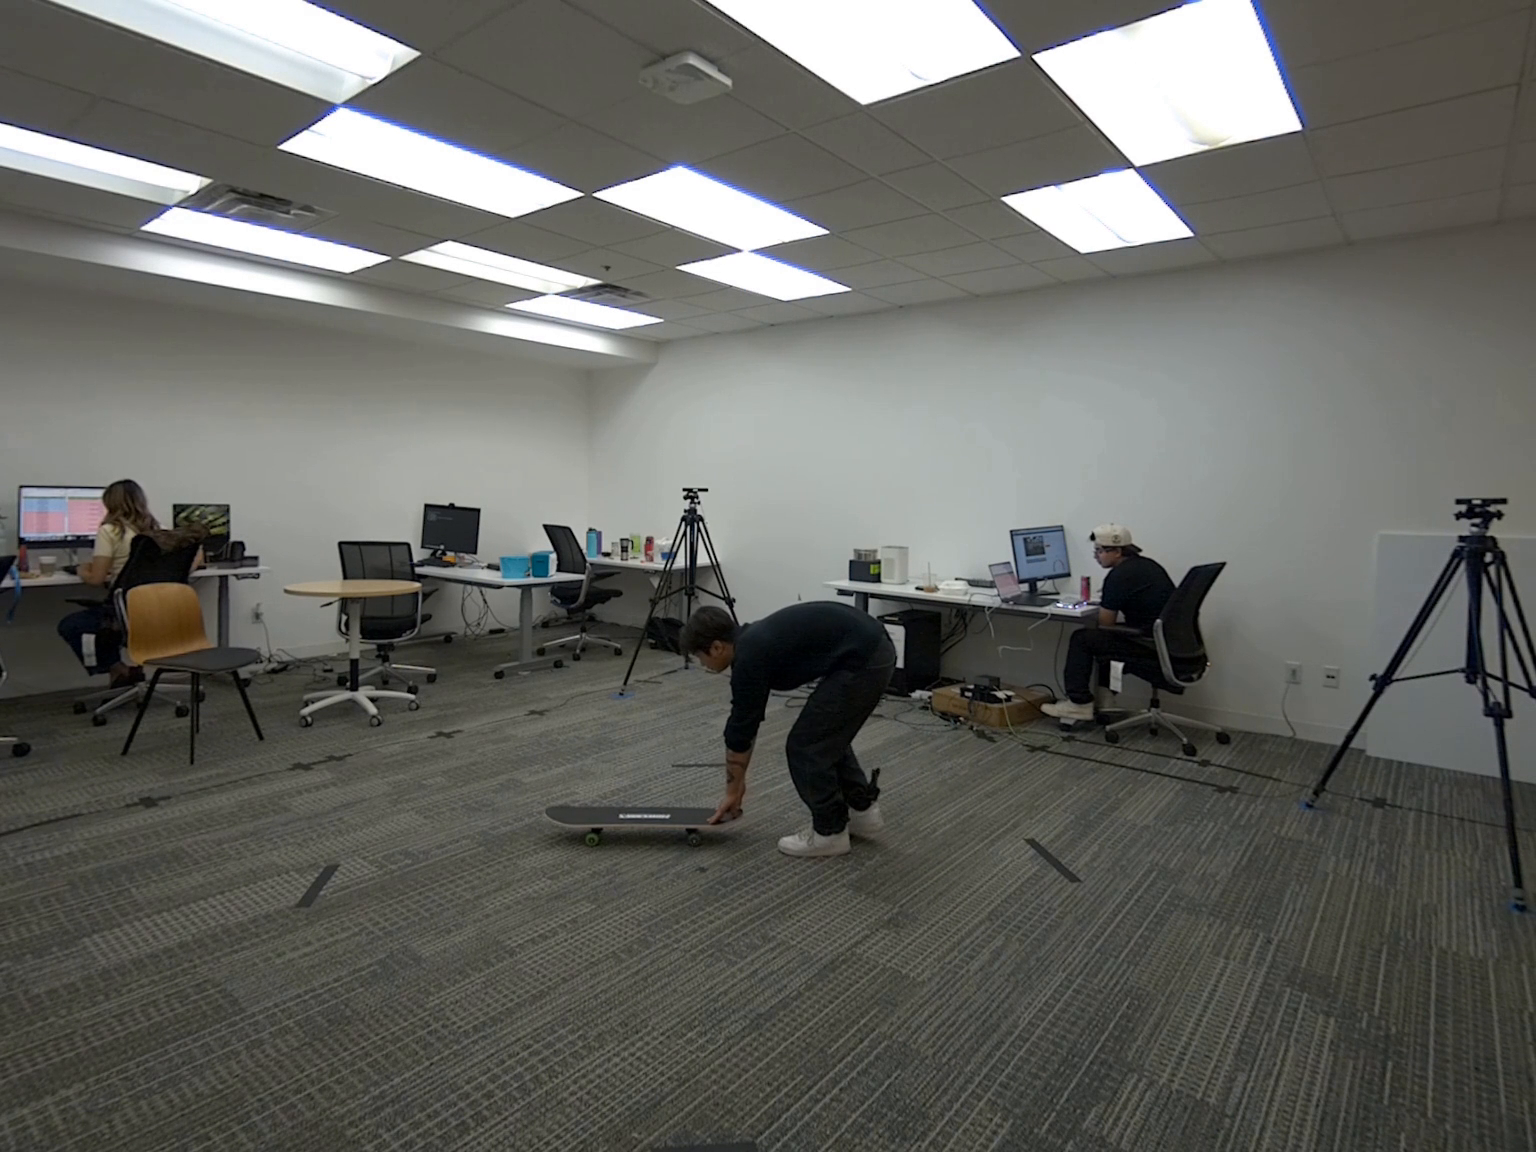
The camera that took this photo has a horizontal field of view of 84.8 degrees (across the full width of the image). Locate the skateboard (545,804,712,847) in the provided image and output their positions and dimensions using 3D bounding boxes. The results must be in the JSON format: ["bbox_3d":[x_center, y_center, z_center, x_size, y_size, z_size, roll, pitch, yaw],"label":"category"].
[{"bbox_3d":[-0.512,0.988,3.381,0.782,0.110,0.195,1,4,-3],"label":"skateboard"}]
